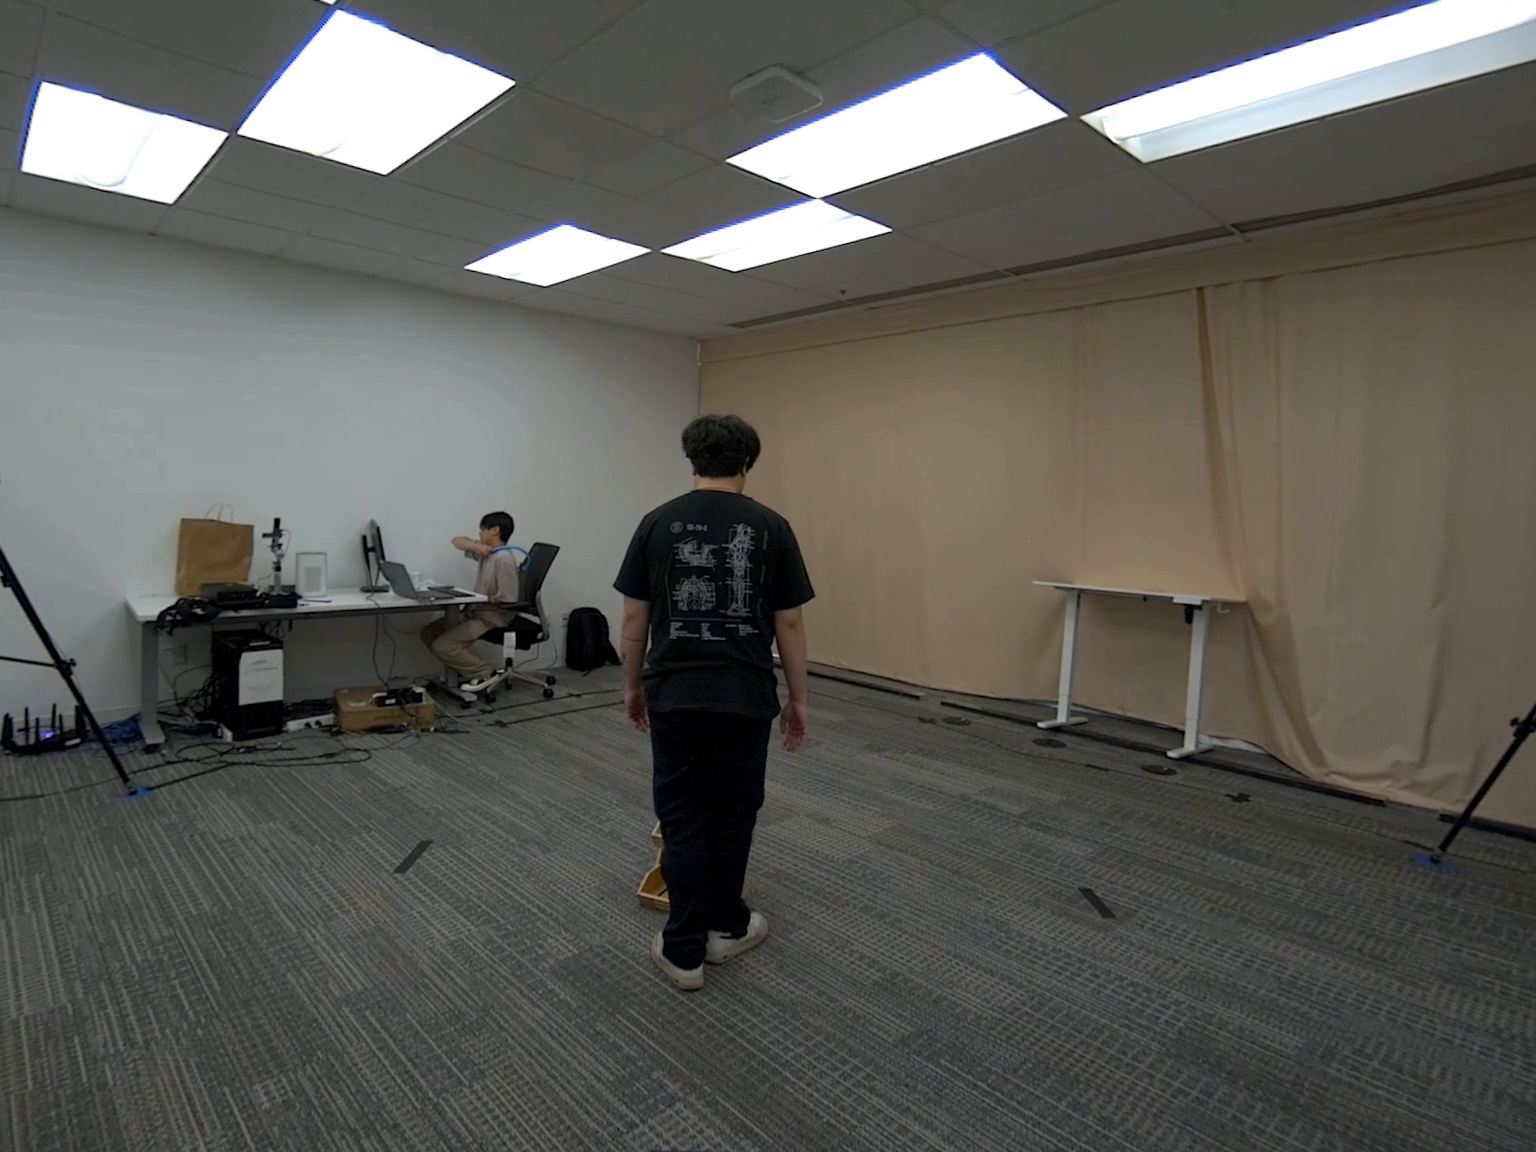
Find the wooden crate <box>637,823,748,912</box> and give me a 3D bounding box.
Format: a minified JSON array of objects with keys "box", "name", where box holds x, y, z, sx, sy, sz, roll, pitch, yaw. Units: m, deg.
[{"box":[-0.254,0.999,2.912,0.331,0.272,0.297,3,4,24],"name":"wooden crate"}]
